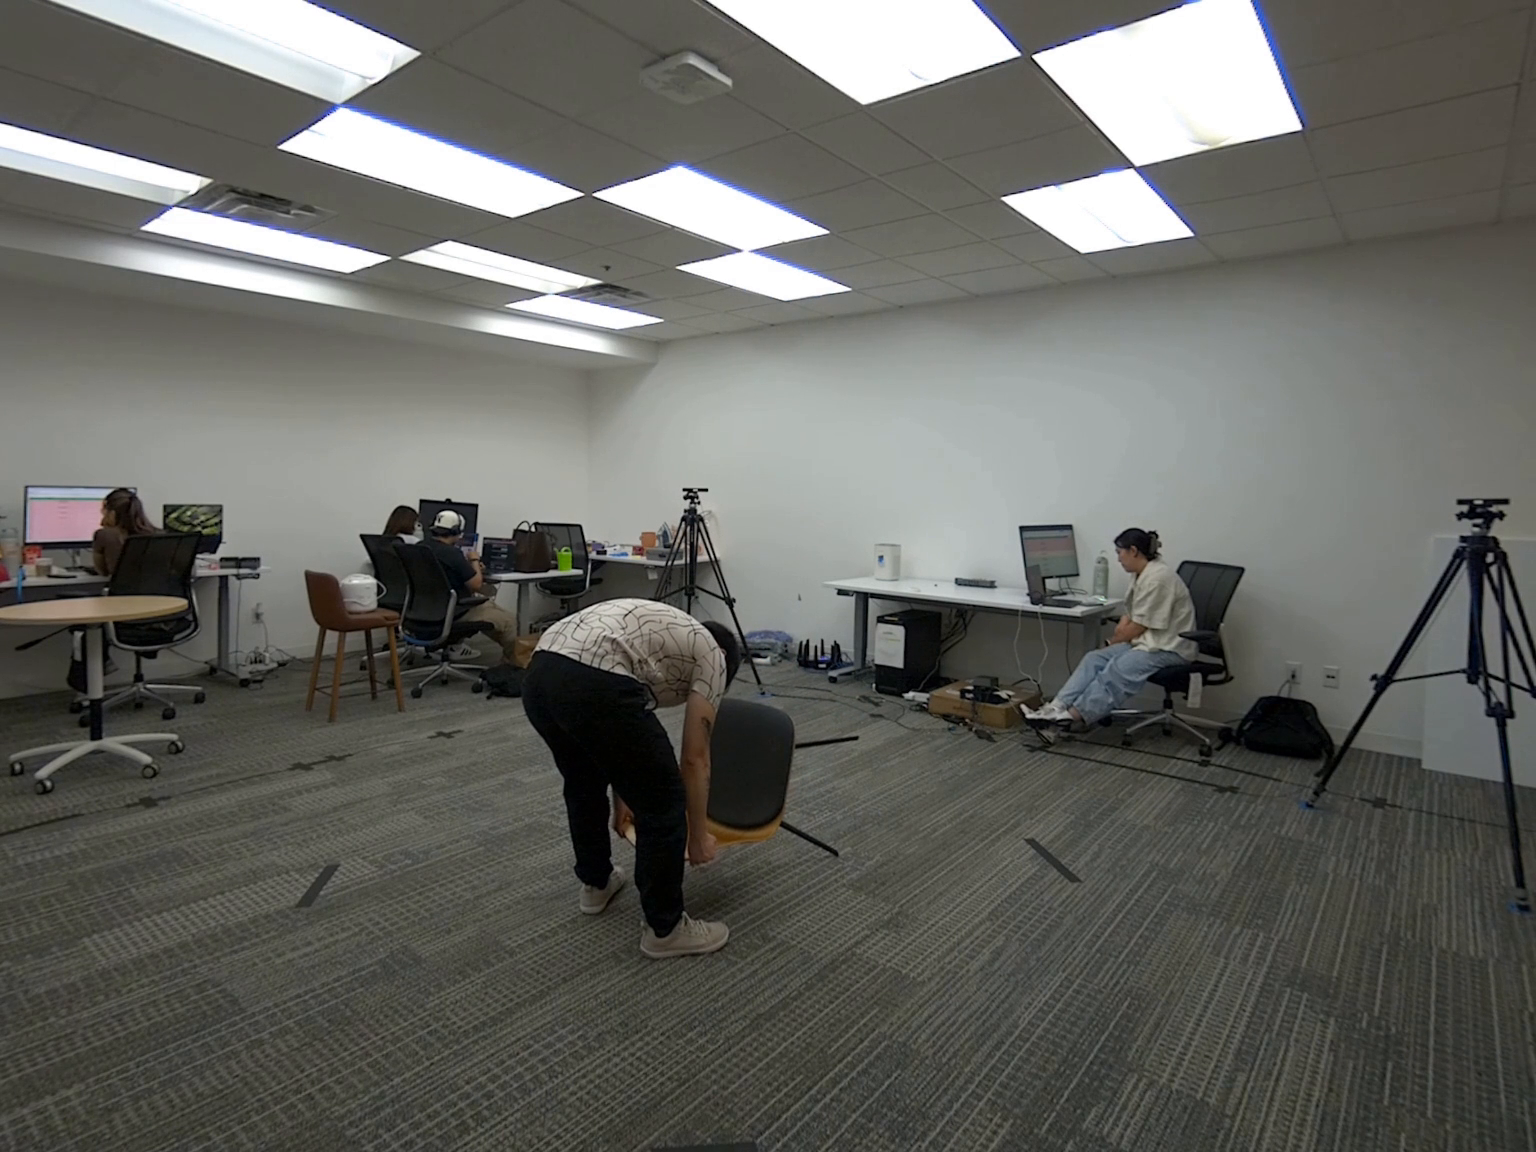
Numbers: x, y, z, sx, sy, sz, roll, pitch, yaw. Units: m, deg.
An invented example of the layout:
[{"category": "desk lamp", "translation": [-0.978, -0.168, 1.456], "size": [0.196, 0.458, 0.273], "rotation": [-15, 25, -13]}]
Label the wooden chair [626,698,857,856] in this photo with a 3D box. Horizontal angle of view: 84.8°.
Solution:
[{"category": "wooden chair", "translation": [-0.120, 0.719, 3.096], "size": [0.494, 0.526, 0.844], "rotation": [4, -7, 37]}]
